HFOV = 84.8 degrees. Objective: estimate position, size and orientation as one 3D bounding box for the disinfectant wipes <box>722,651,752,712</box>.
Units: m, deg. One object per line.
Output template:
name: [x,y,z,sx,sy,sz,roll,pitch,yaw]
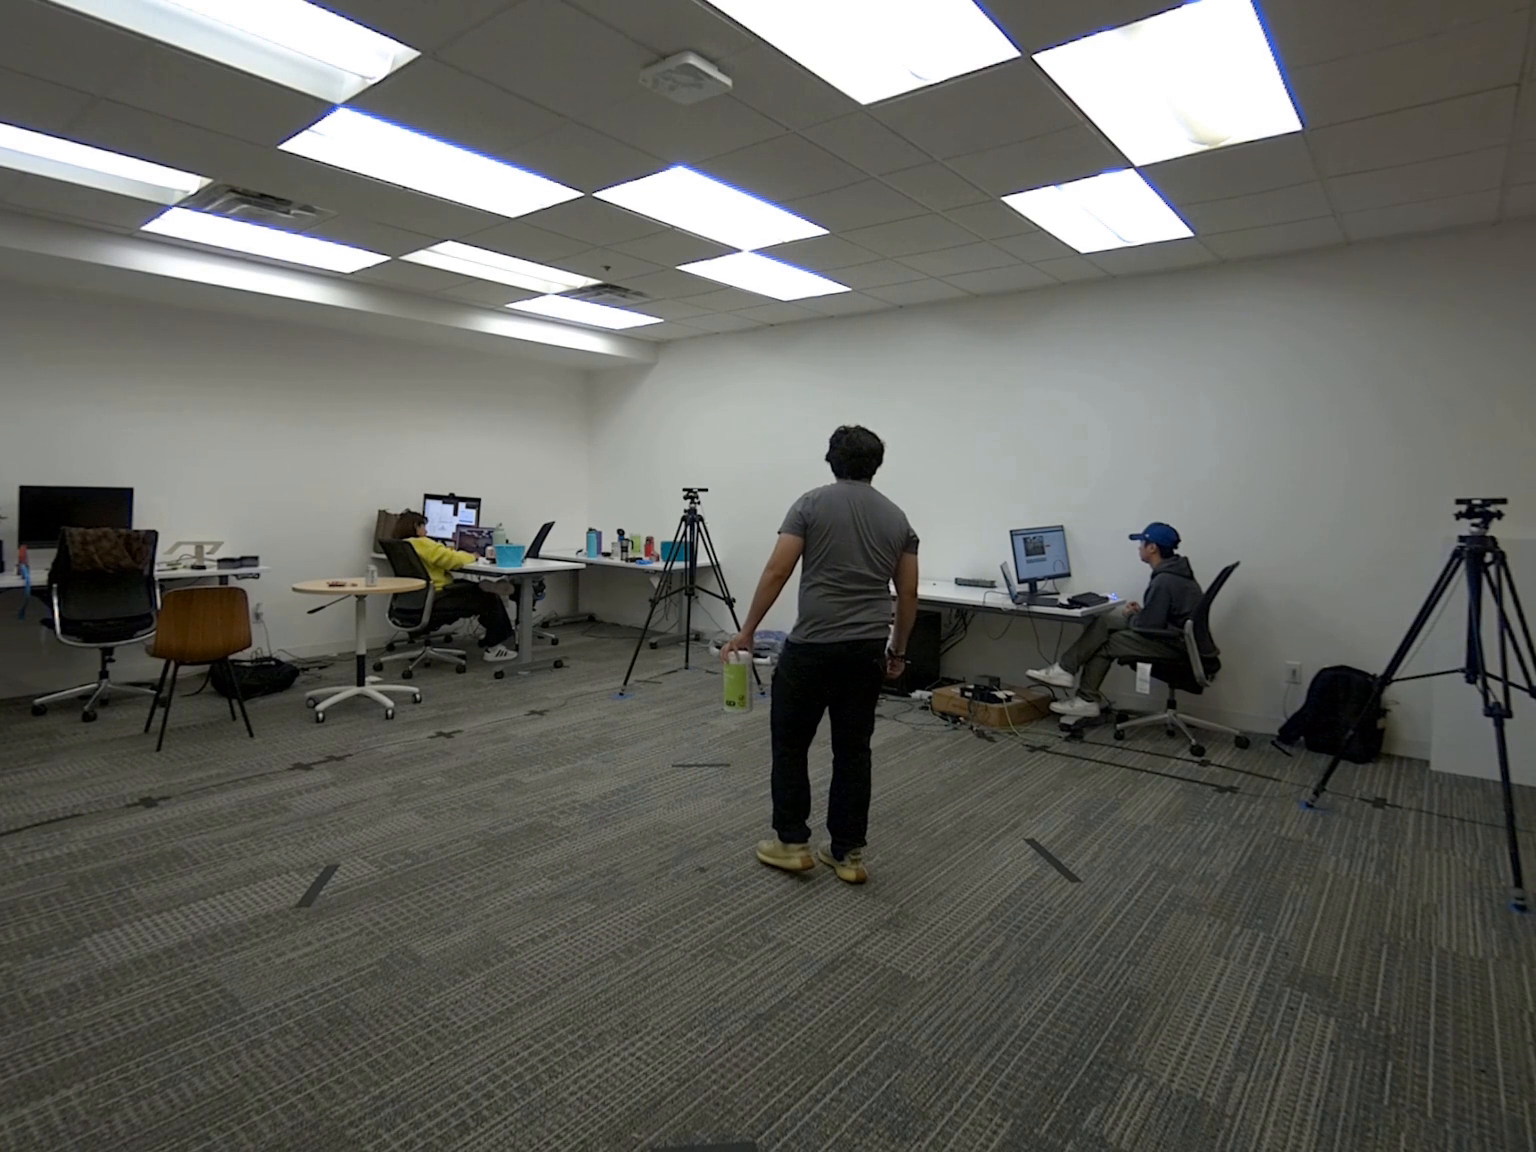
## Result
disinfectant wipes: [-0.119,0.400,3.177,0.118,0.216,0.118,-2,5,-2]
